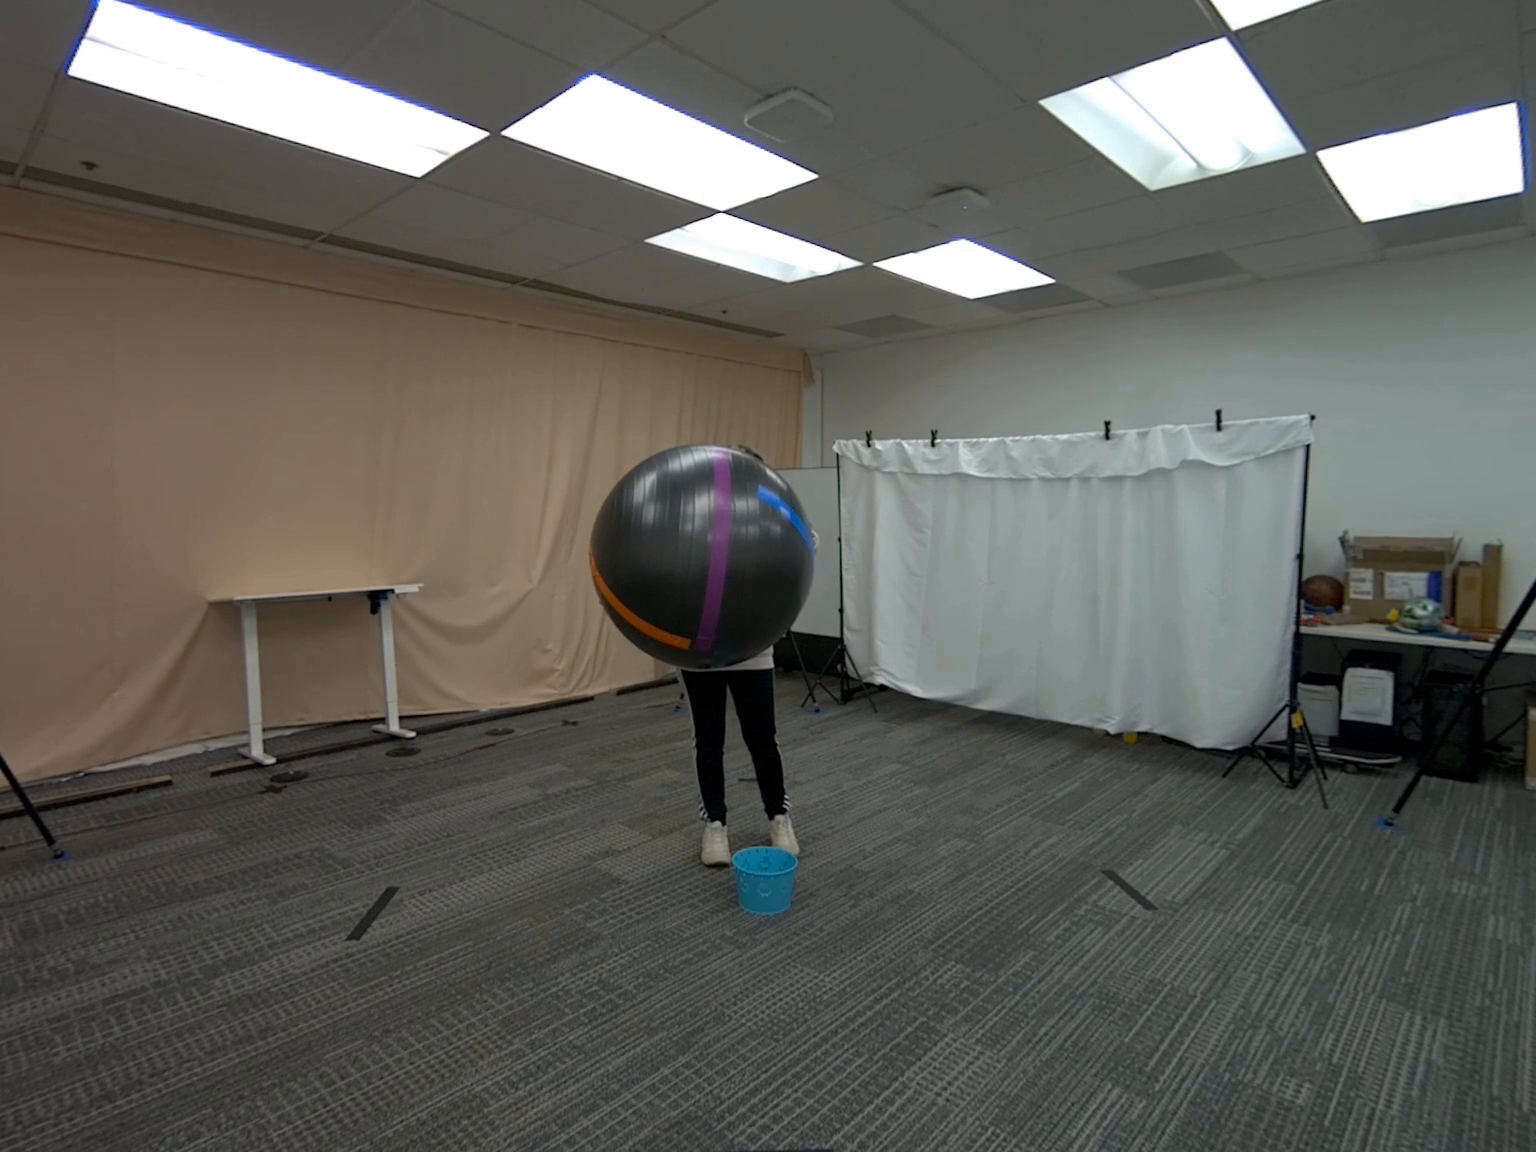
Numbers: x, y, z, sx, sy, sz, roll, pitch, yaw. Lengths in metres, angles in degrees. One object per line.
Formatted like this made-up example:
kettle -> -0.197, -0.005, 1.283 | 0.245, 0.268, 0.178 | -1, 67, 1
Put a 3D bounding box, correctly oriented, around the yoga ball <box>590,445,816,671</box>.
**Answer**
yoga ball -> -0.221, -0.052, 2.852 | 0.757, 0.756, 0.760 | 0, 4, -2
